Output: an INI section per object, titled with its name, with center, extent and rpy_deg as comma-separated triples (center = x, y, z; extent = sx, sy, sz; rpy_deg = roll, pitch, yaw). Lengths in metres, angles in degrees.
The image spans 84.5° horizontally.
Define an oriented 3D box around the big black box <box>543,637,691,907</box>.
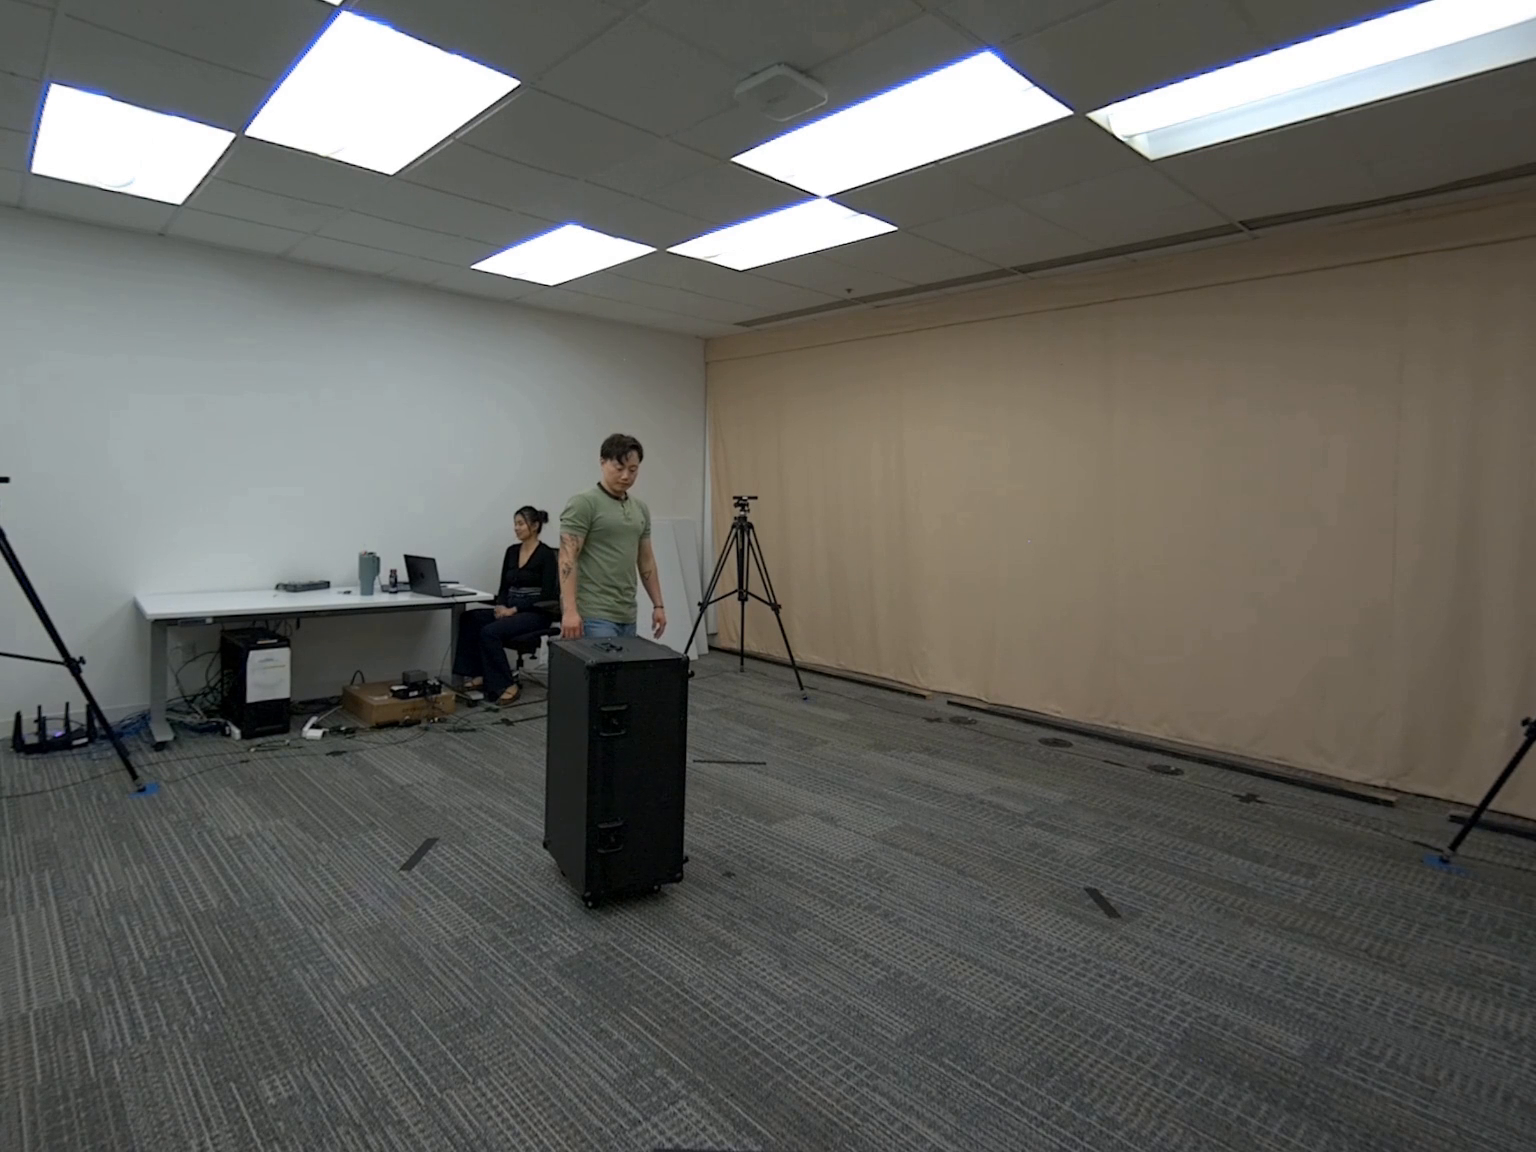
[big black box]
center = -0.550, 0.678, 3.007
extent = 0.388, 0.860, 0.533
rpy_deg = 1, 3, -30
